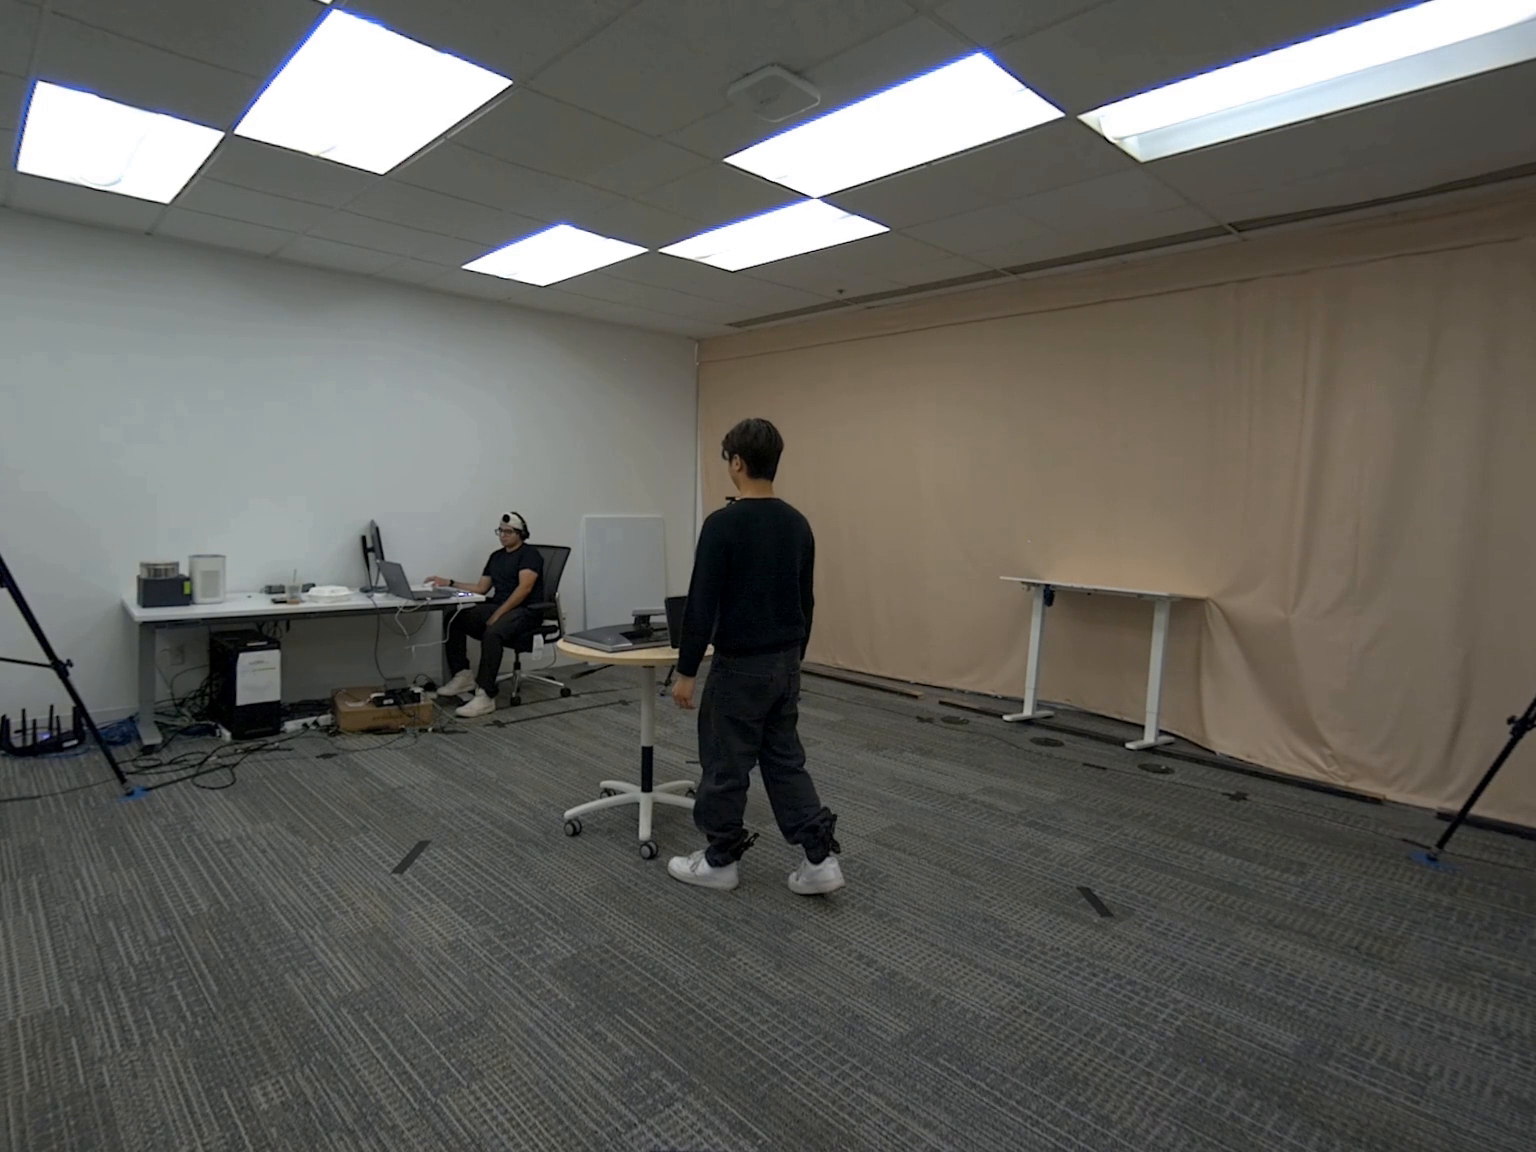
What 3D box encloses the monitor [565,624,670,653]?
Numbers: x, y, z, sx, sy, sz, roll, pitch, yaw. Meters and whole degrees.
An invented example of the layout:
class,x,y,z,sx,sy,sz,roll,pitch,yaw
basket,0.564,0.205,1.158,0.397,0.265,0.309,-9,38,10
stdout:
class,x,y,z,sx,sy,sz,roll,pitch,yaw
monitor,-0.504,0.210,3.539,0.526,0.188,0.531,-1,-9,-42
